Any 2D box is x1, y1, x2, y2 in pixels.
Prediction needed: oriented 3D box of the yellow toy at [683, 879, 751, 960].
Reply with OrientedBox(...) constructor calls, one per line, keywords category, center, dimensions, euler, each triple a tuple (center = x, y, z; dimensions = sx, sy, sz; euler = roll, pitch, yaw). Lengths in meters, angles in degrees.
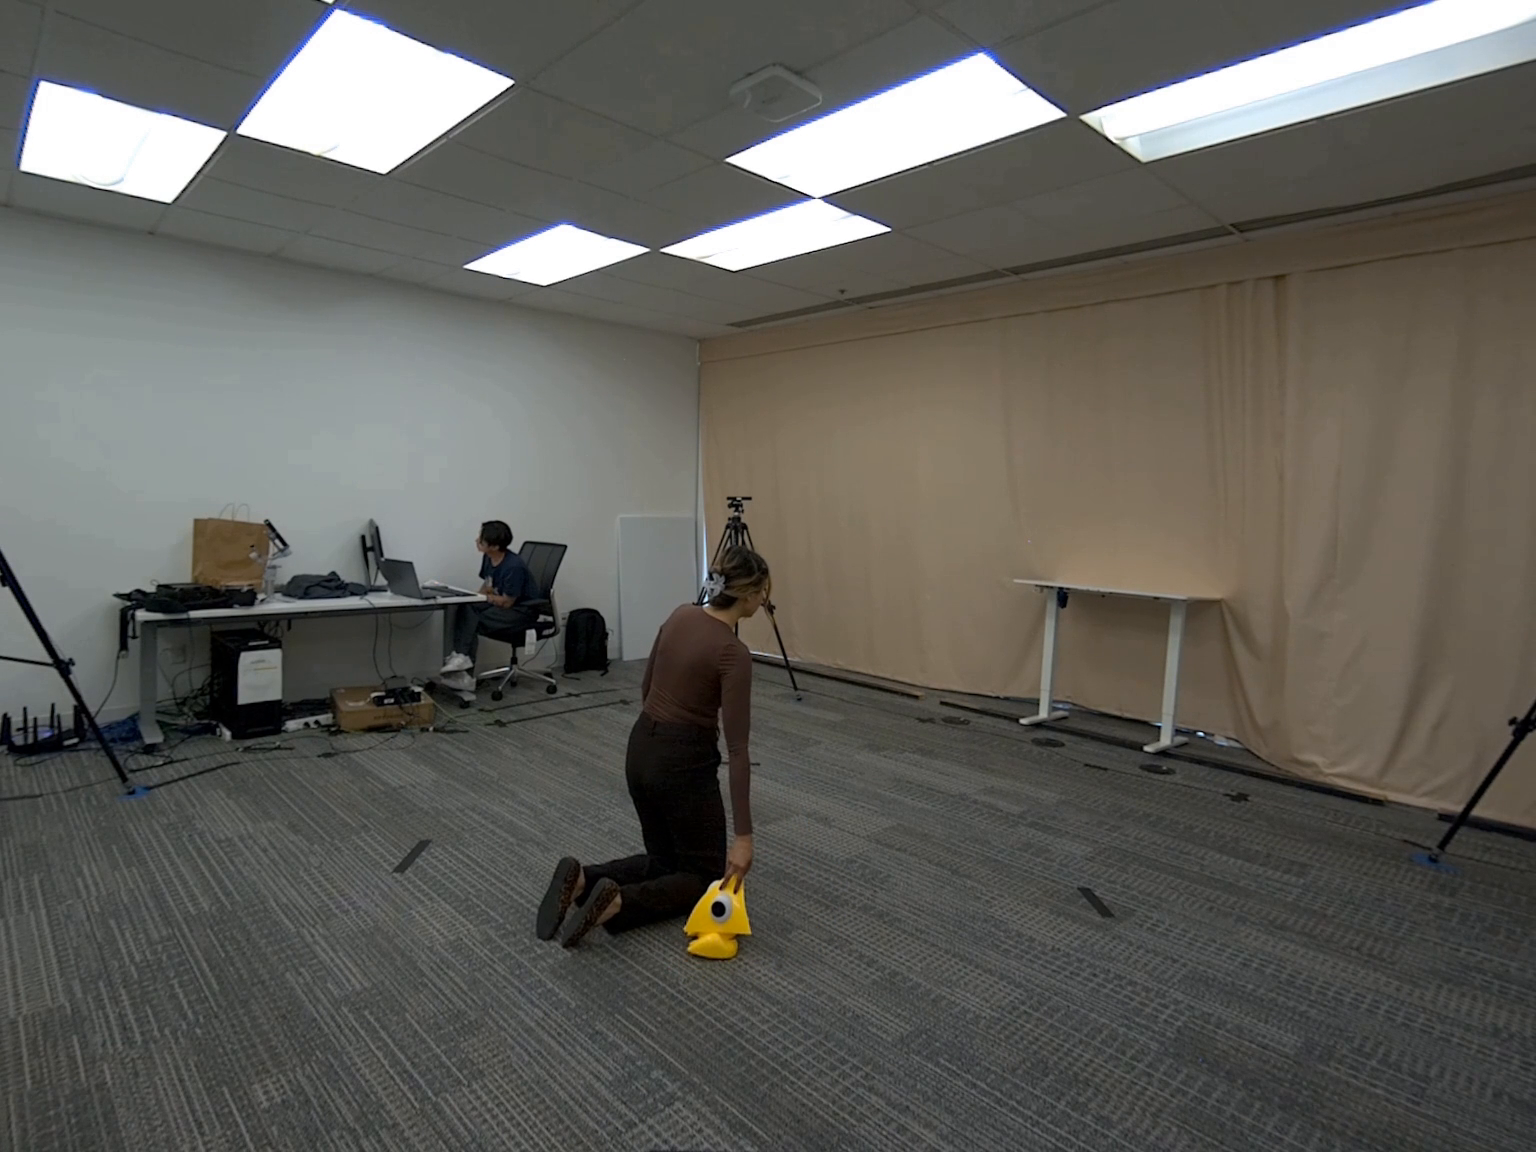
OrientedBox(category="yellow toy", center=(-0.157, 1.031, 2.623), dimensions=(0.191, 0.230, 0.207), euler=(8, 3, -10))
